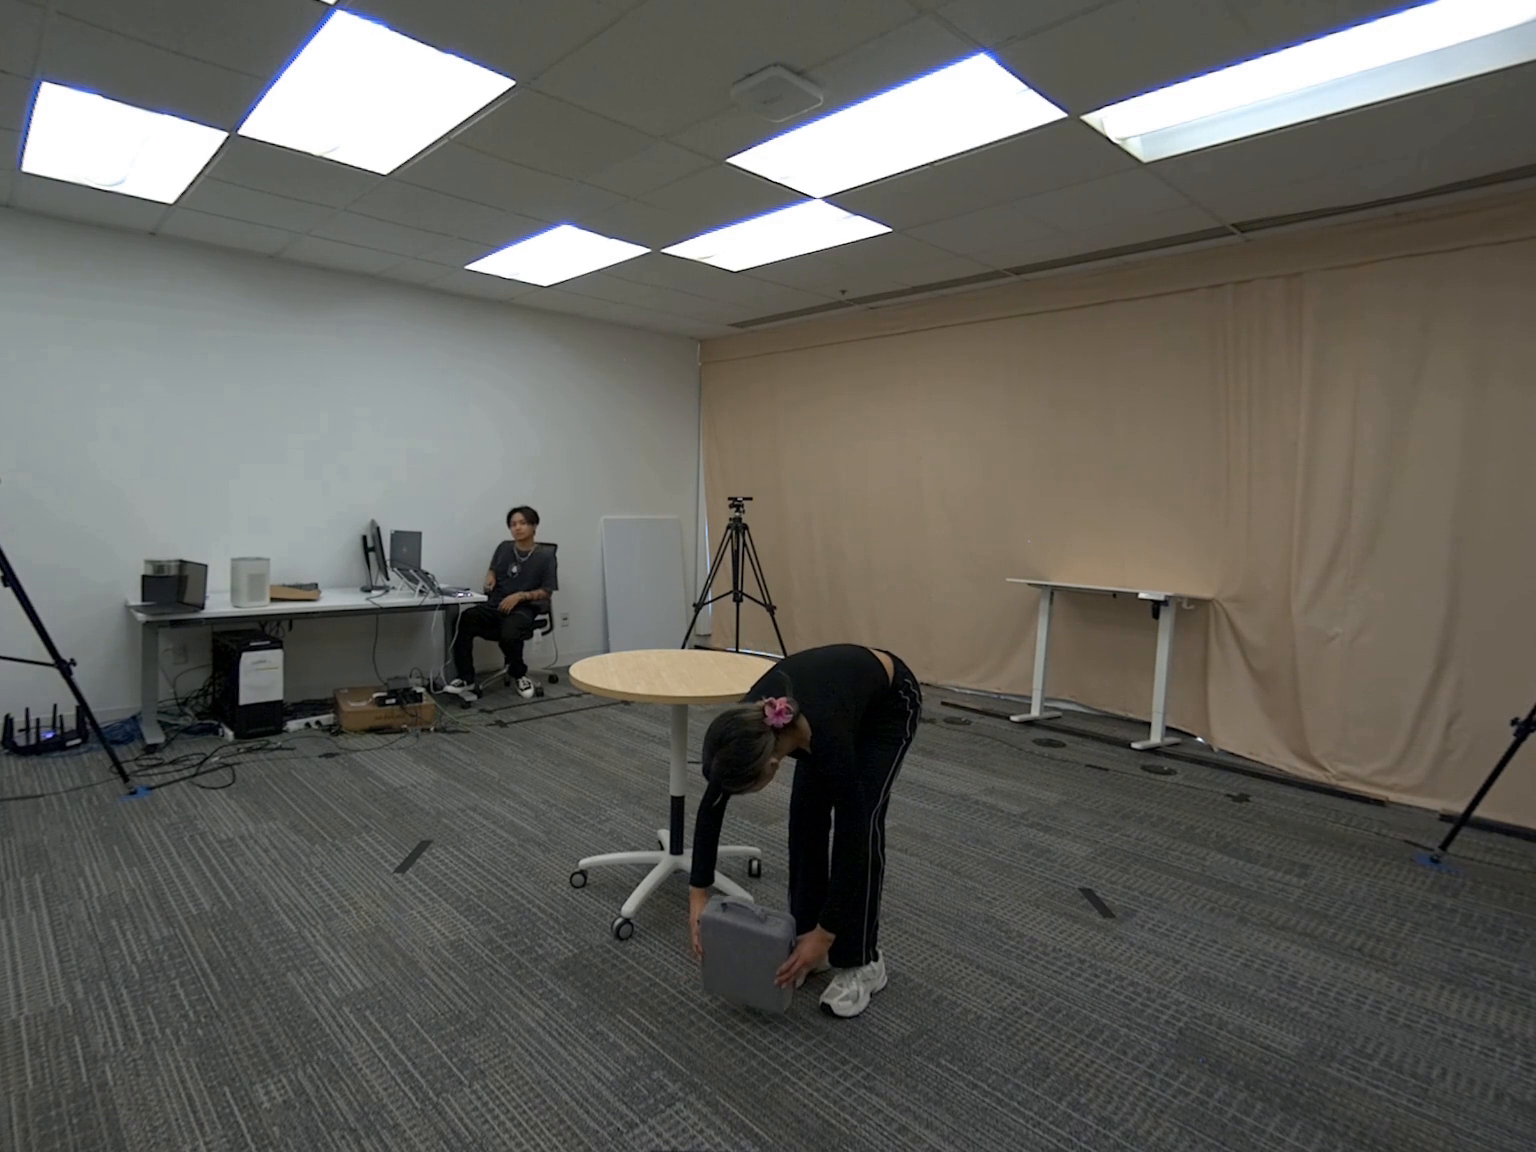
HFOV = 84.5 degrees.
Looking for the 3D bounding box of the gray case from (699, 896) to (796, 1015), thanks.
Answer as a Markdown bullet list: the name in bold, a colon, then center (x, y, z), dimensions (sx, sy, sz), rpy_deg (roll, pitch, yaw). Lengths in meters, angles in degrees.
- **gray case**: center (-0.051, 0.995, 2.228), dimensions (0.261, 0.258, 0.103), rpy_deg (5, 12, 22)
